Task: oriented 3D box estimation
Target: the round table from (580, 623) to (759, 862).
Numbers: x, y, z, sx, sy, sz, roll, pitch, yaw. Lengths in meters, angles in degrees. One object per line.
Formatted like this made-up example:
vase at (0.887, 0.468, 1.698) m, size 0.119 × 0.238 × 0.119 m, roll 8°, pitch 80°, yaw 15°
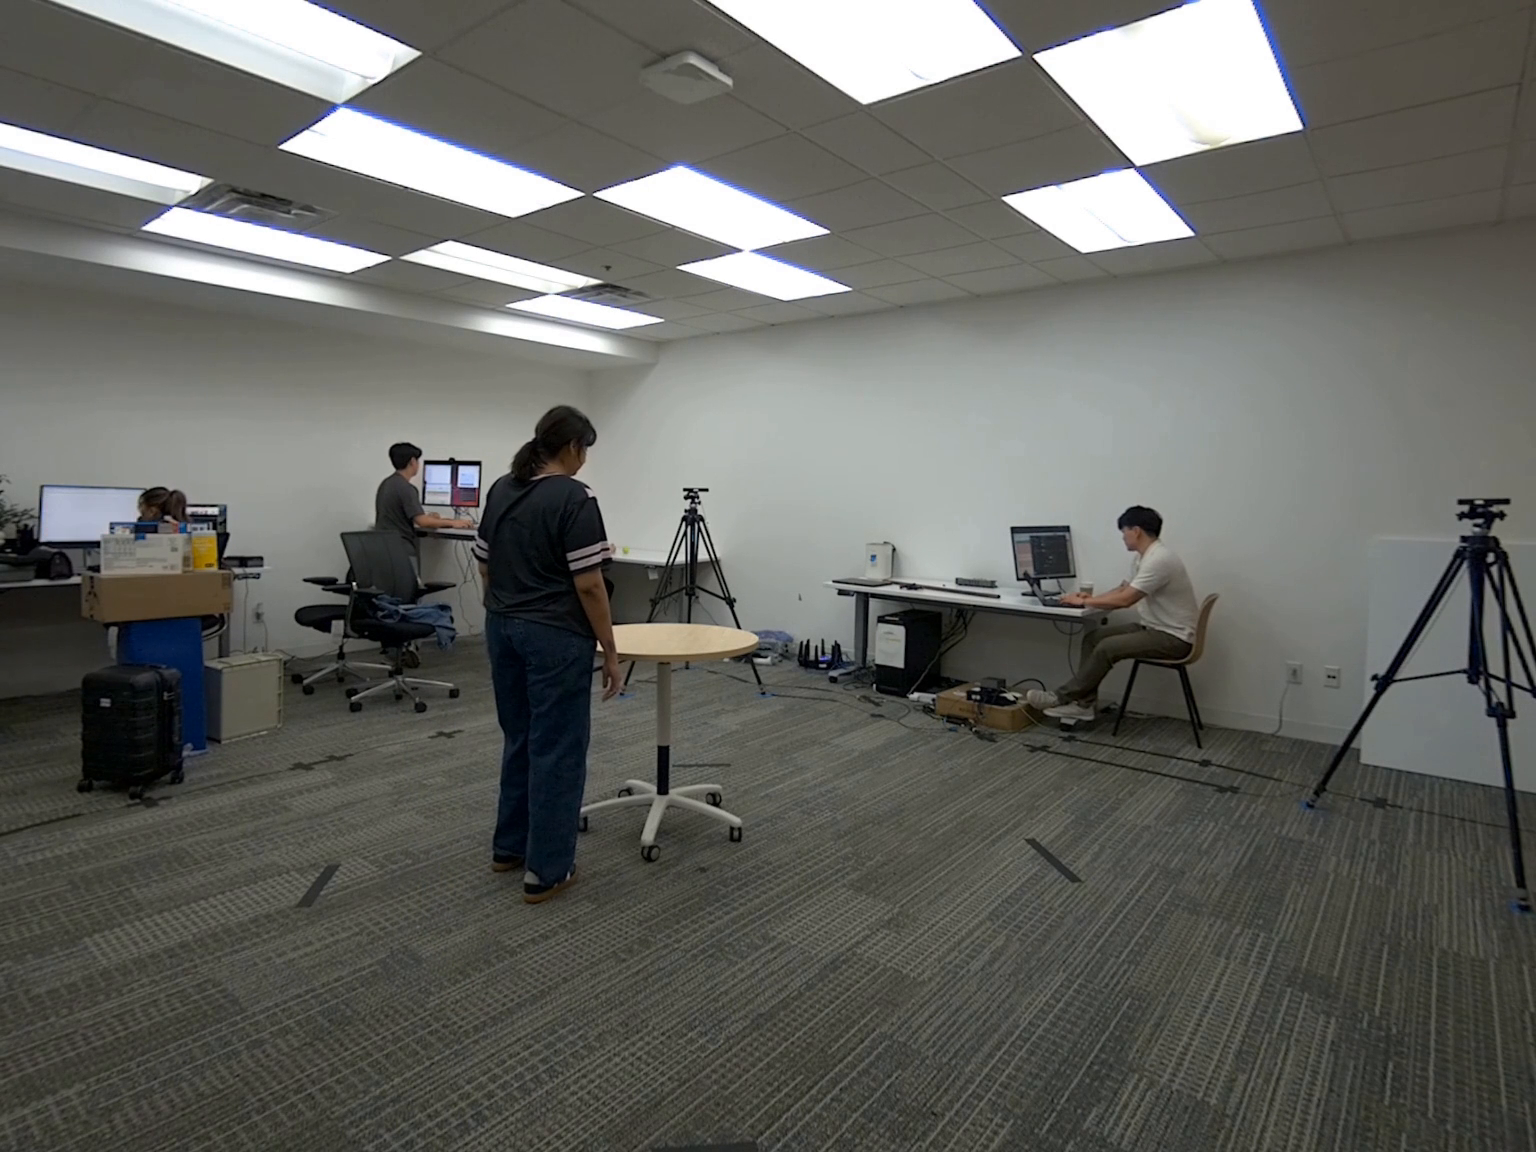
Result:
round table at (-0.449, 0.638, 3.480) m, size 0.784 × 0.784 × 0.789 m, roll 1°, pitch 4°, yaw -2°
